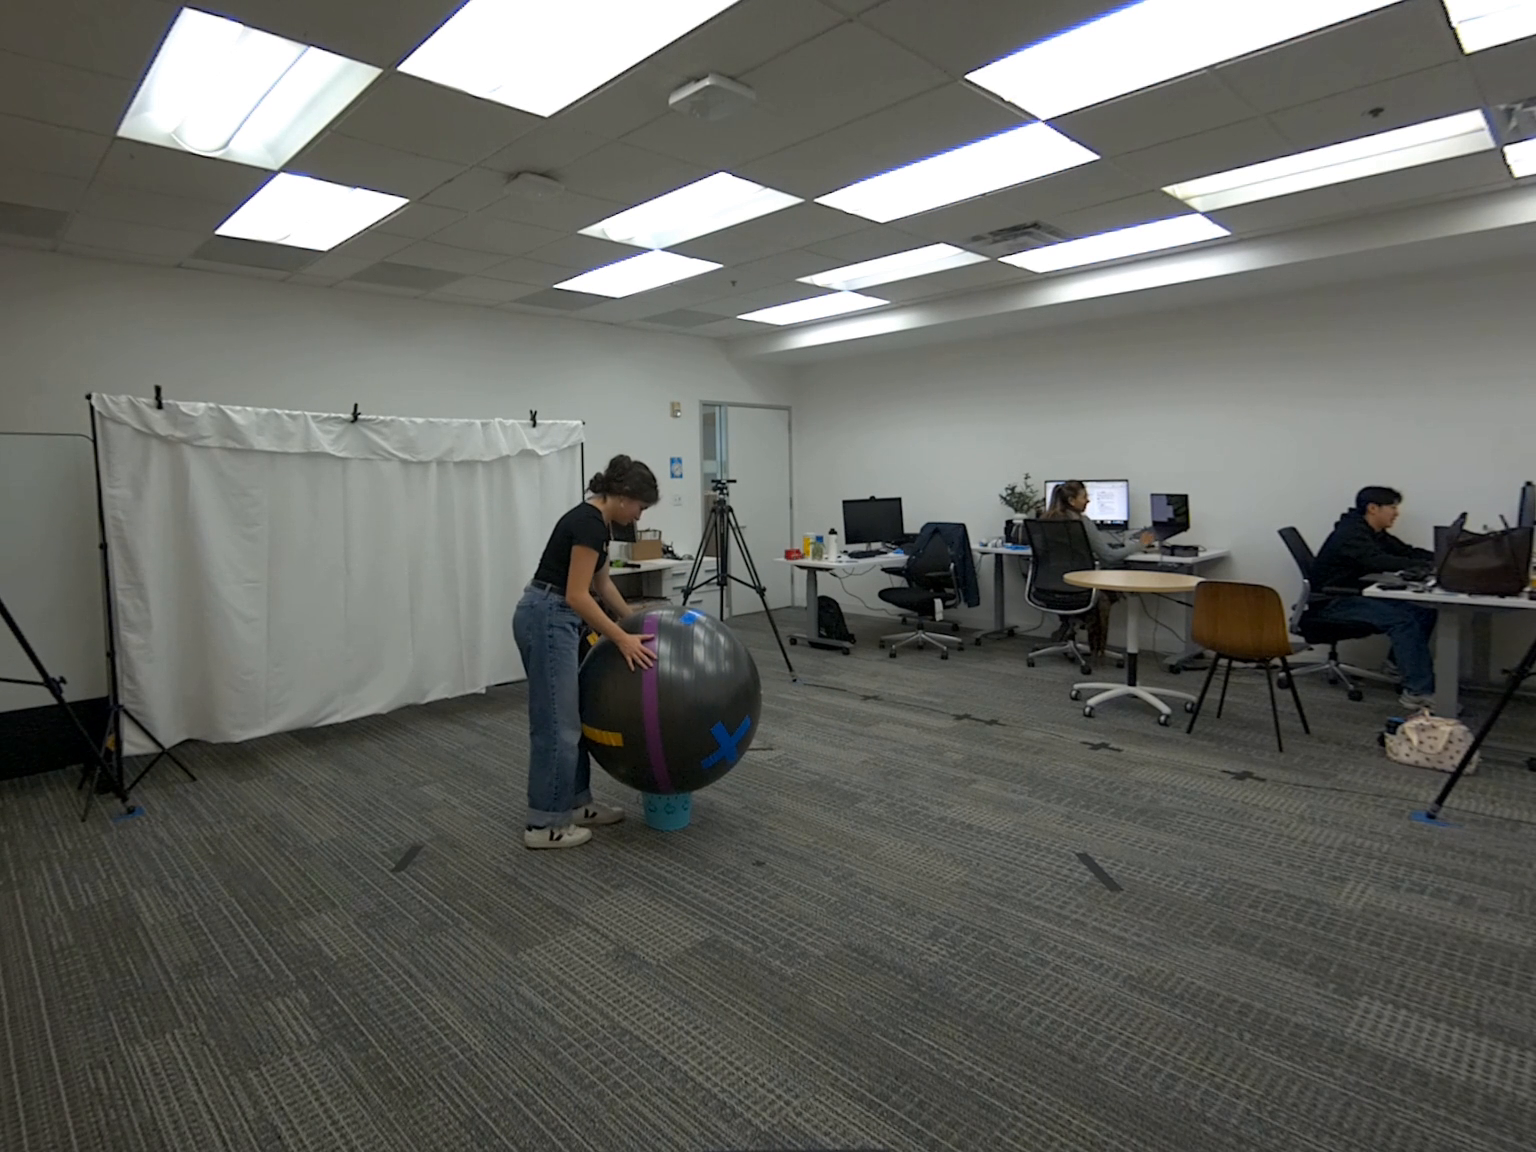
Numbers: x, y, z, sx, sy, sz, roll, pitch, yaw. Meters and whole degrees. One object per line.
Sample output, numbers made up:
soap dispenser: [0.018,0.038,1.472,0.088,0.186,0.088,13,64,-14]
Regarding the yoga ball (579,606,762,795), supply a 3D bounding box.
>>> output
yoga ball: [-0.400,0.504,3.486,0.757,0.755,0.762,-1,5,-2]
